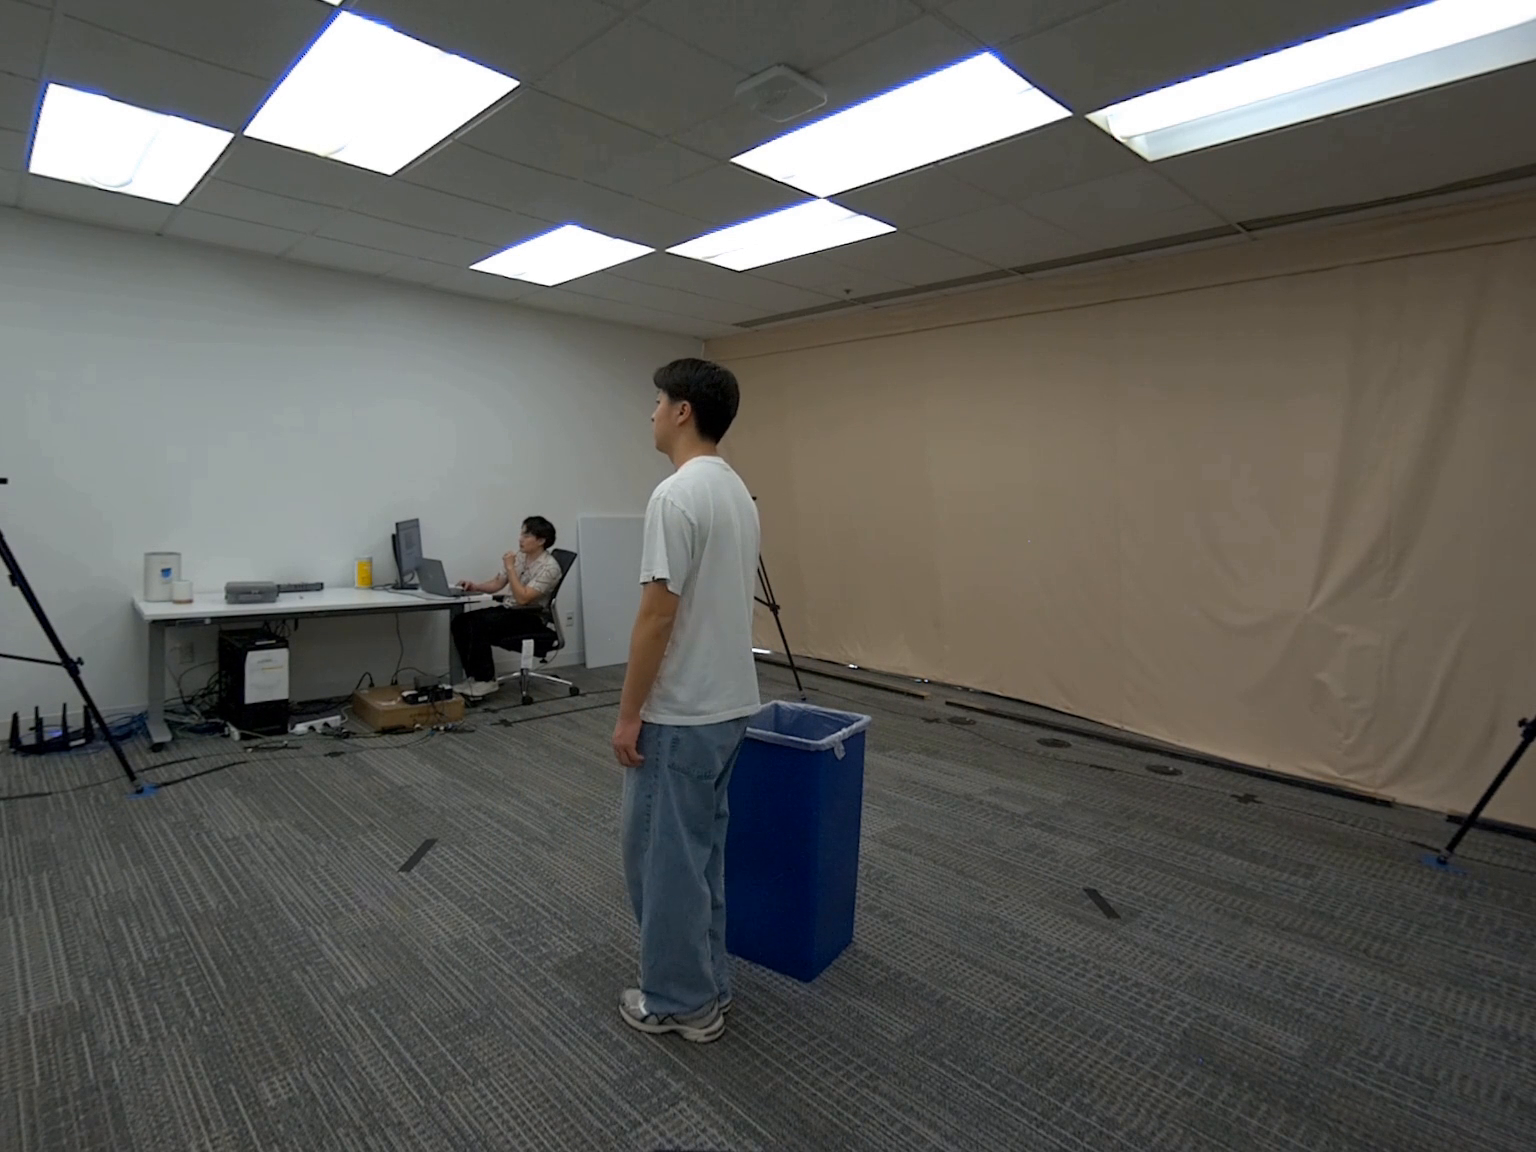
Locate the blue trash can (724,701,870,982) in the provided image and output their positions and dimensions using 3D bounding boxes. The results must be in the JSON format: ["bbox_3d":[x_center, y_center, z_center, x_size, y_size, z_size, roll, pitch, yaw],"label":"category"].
[{"bbox_3d":[0.068,0.798,2.607,0.382,0.711,0.370,4,4,31],"label":"blue trash can"}]
